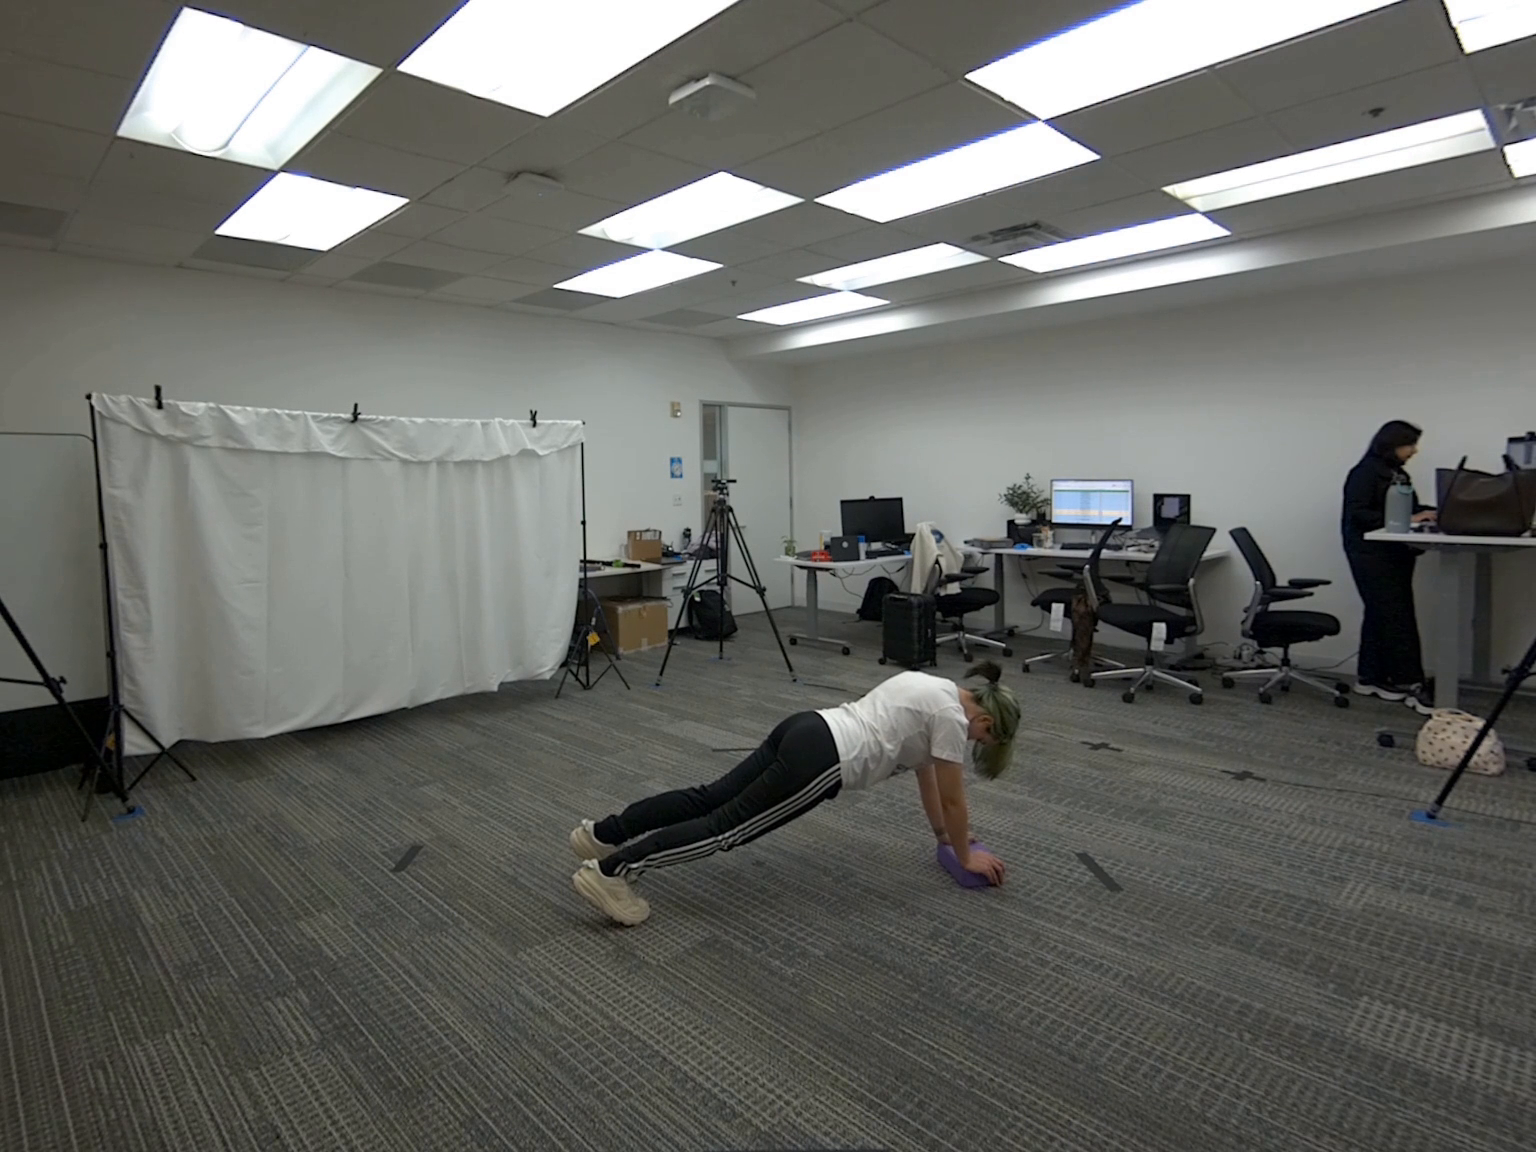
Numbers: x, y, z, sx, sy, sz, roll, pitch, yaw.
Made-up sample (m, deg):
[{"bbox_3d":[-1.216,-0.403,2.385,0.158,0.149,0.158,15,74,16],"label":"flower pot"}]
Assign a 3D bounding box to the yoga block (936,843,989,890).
[{"bbox_3d":[0.705,1.006,3.007,0.148,0.076,0.232,-2,4,-9],"label":"yoga block"}]
